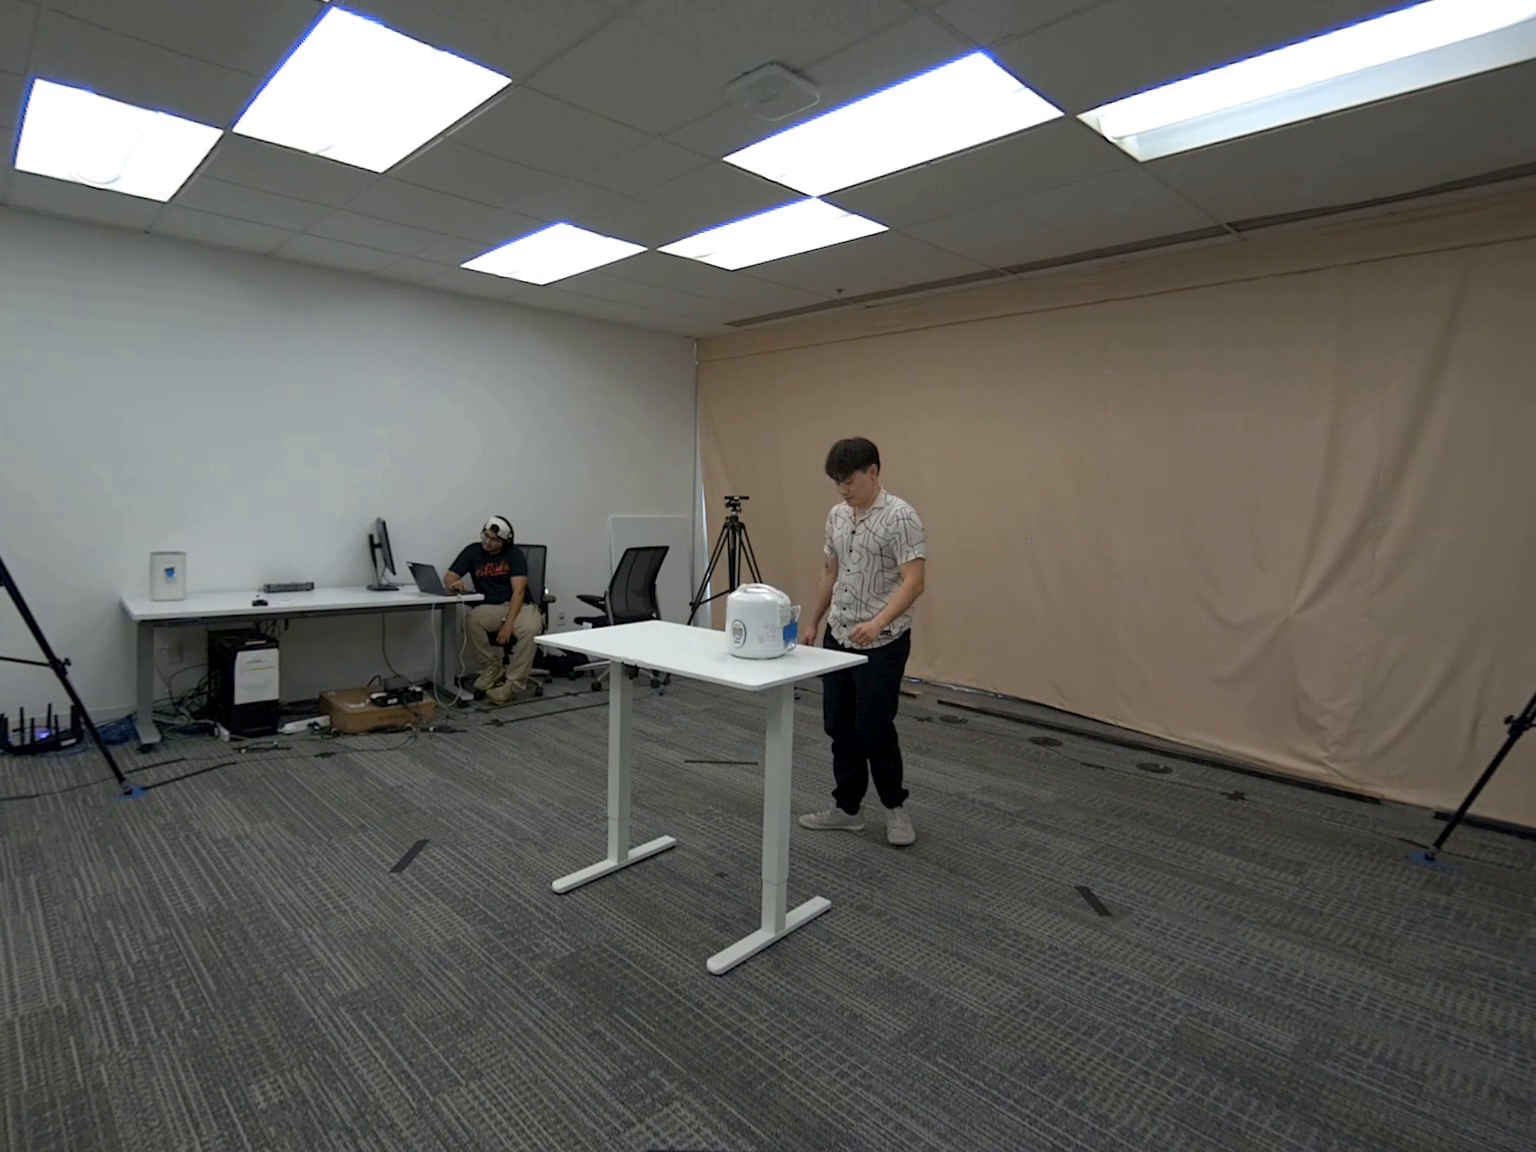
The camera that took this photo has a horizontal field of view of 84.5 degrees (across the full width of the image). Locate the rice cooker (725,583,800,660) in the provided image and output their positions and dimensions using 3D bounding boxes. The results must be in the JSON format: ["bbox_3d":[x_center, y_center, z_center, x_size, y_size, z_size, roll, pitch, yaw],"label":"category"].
[{"bbox_3d":[-0.035,0.142,2.731,0.226,0.232,0.213,4,4,35],"label":"rice cooker"}]
